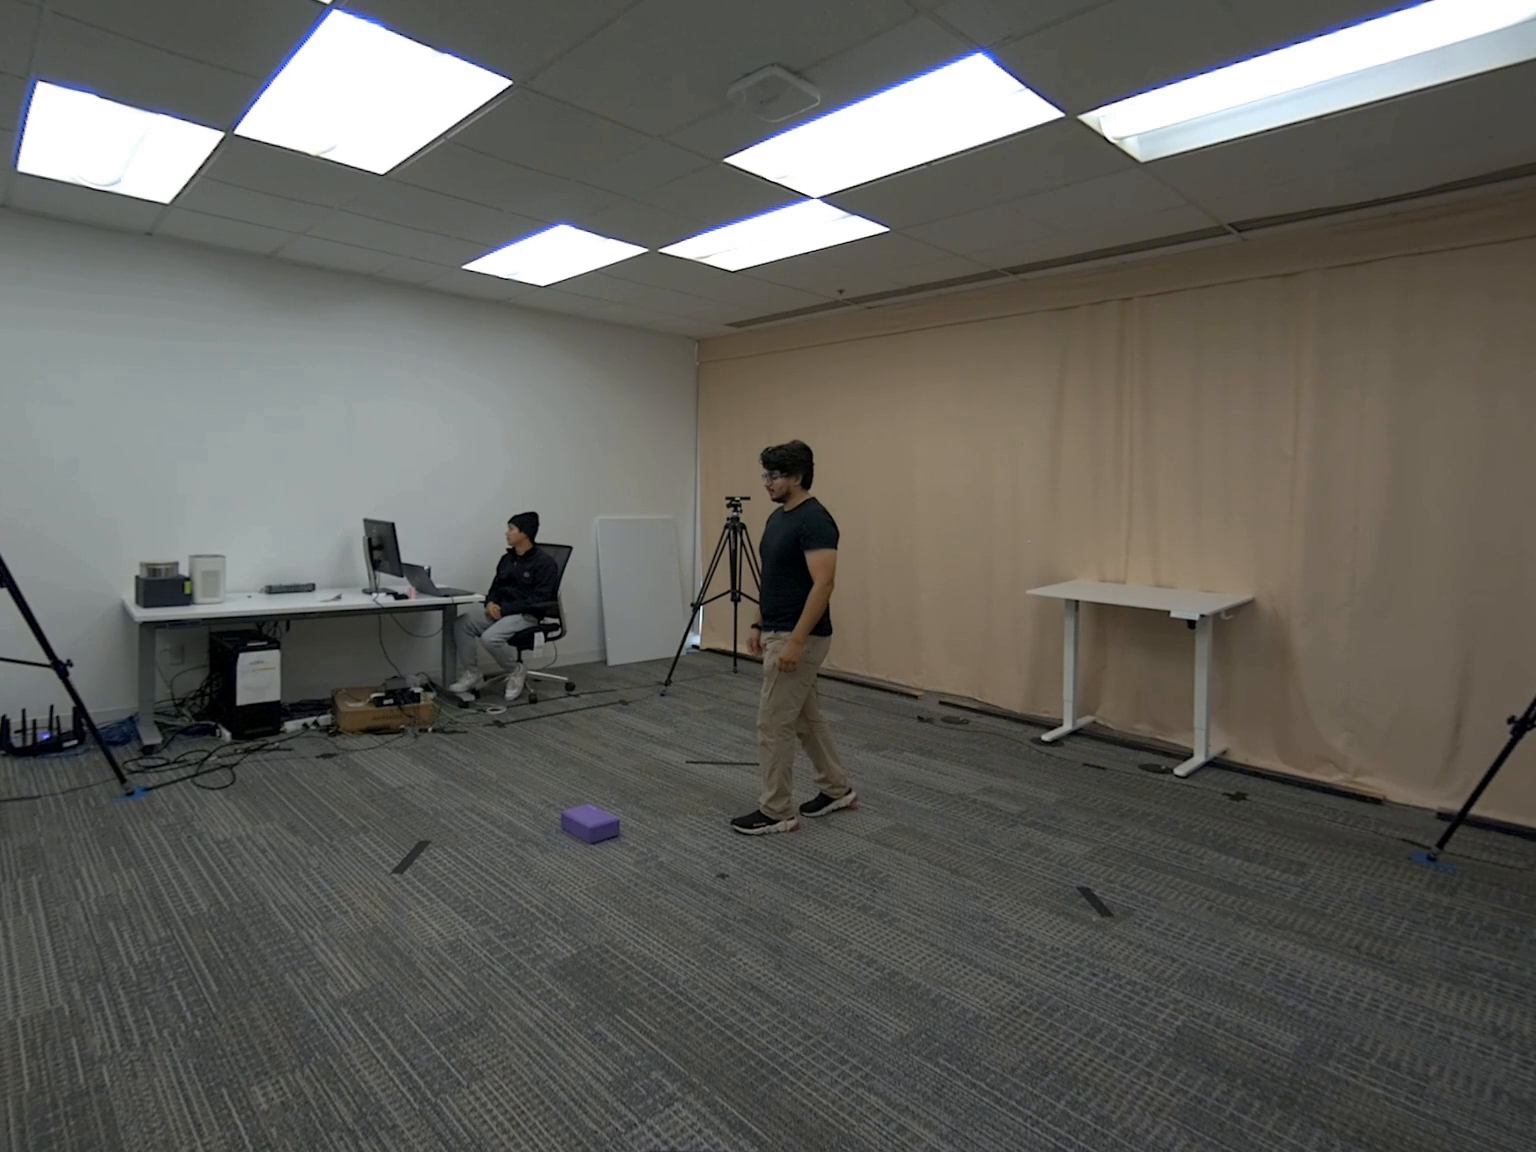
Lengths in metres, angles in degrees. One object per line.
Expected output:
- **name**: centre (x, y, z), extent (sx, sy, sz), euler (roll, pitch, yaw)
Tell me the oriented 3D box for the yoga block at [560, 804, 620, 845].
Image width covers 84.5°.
- **yoga block**: centre (-0.743, 1.021, 3.477), extent (0.145, 0.076, 0.235), euler (-4, 7, -43)
